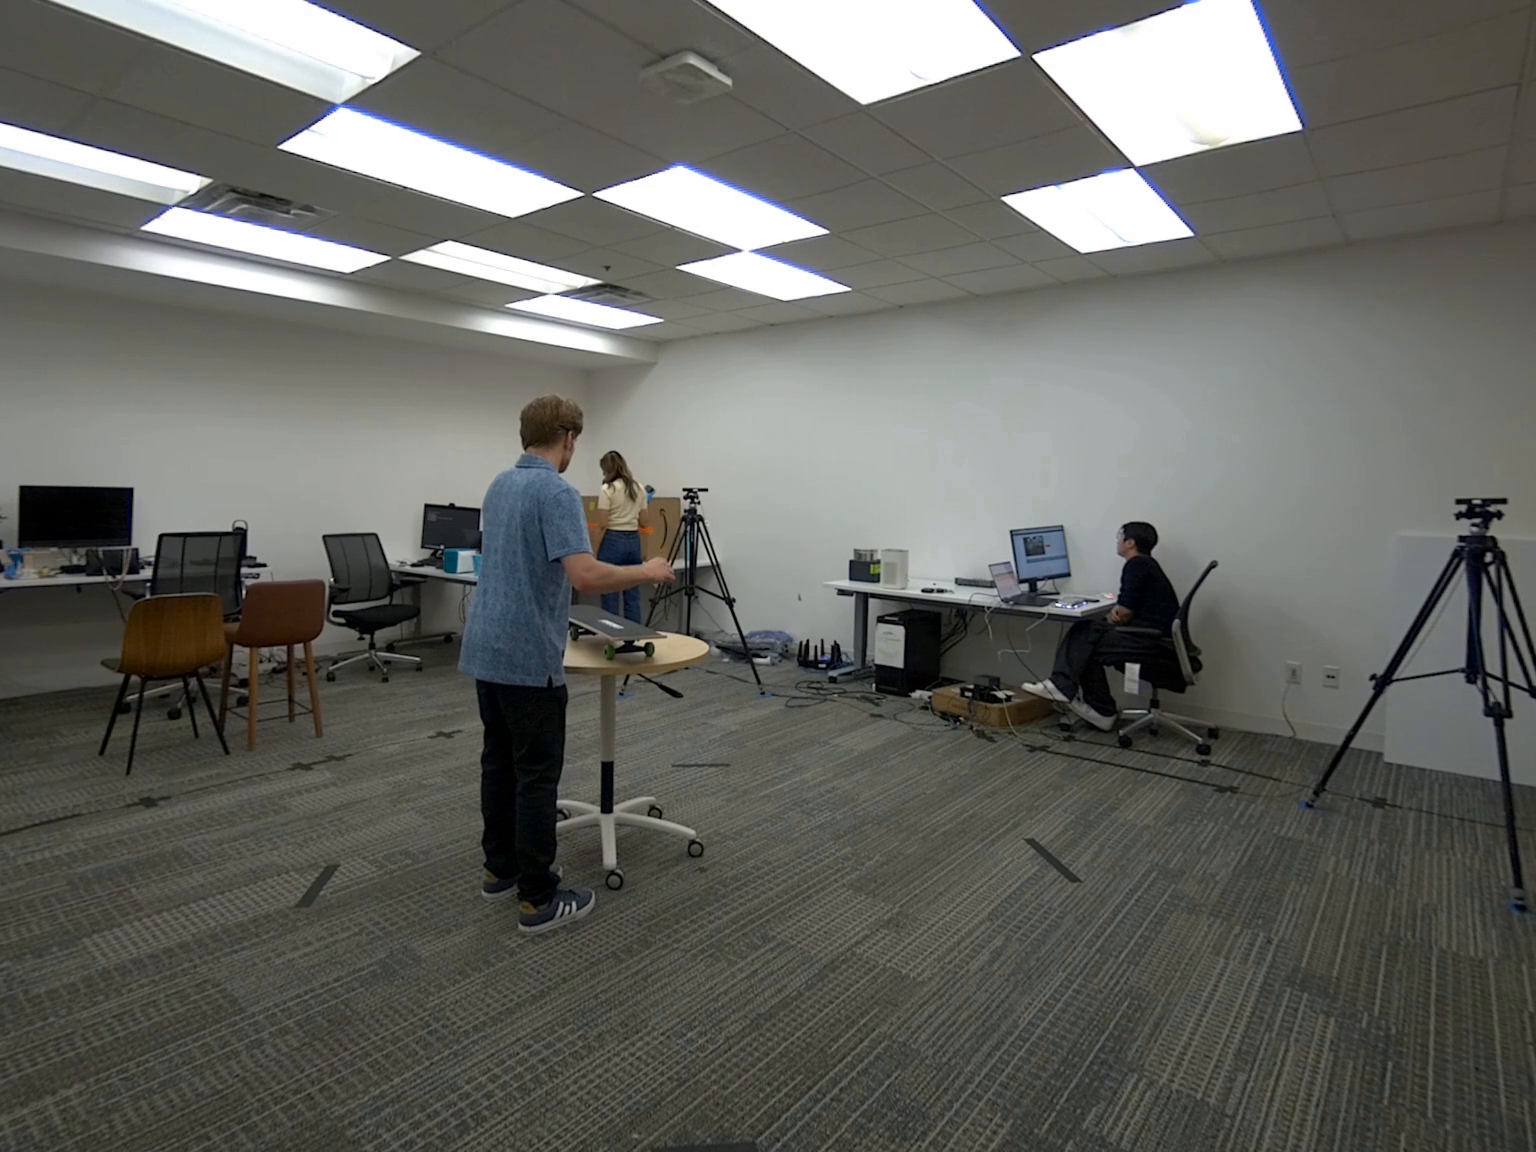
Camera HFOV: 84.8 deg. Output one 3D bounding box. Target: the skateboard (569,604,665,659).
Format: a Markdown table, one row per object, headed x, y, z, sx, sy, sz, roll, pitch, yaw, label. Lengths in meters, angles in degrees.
| x | y | z | sx | sy | sz | roll | pitch | yaw | label |
| --- | --- | --- | --- | --- | --- | --- | --- | --- | --- |
| -0.608 | 0.218 | 3.214 | 0.188 | 0.110 | 0.809 | -3 | 7 | -29 | skateboard |
